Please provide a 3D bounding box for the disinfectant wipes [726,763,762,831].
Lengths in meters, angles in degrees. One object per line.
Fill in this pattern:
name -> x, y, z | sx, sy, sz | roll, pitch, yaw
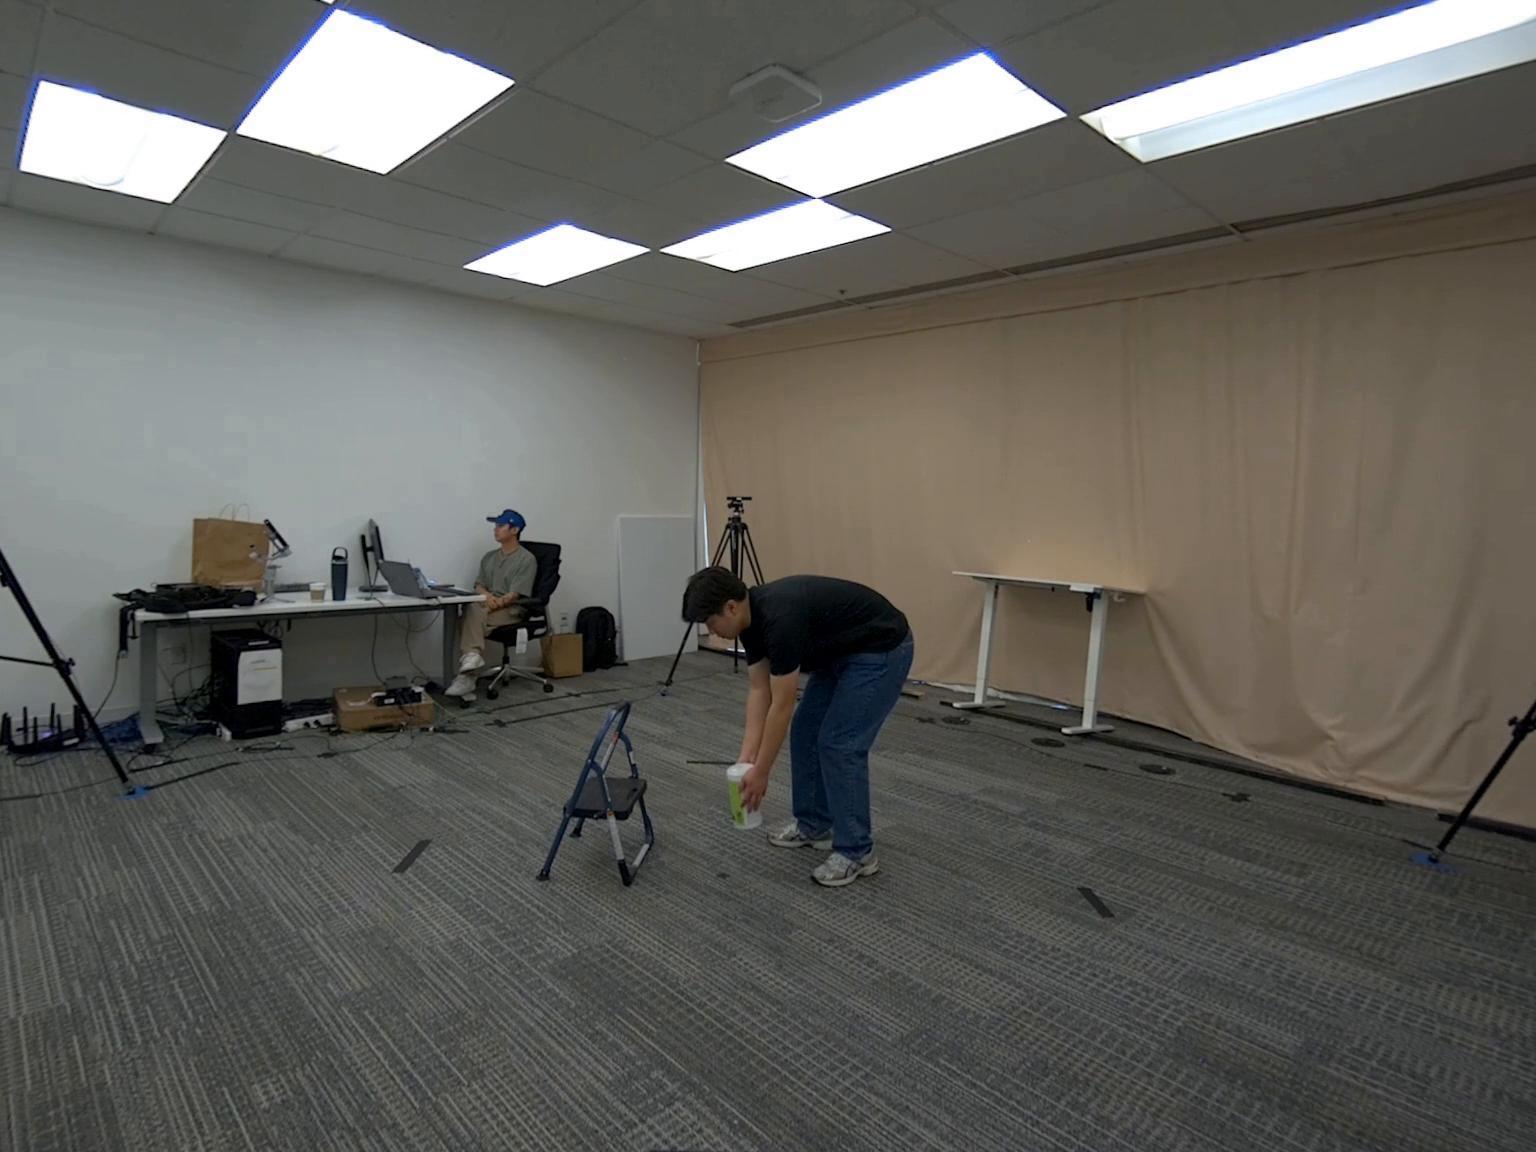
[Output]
disinfectant wipes -> -0.087, 0.810, 3.105 | 0.118, 0.216, 0.118 | -8, 6, 0
